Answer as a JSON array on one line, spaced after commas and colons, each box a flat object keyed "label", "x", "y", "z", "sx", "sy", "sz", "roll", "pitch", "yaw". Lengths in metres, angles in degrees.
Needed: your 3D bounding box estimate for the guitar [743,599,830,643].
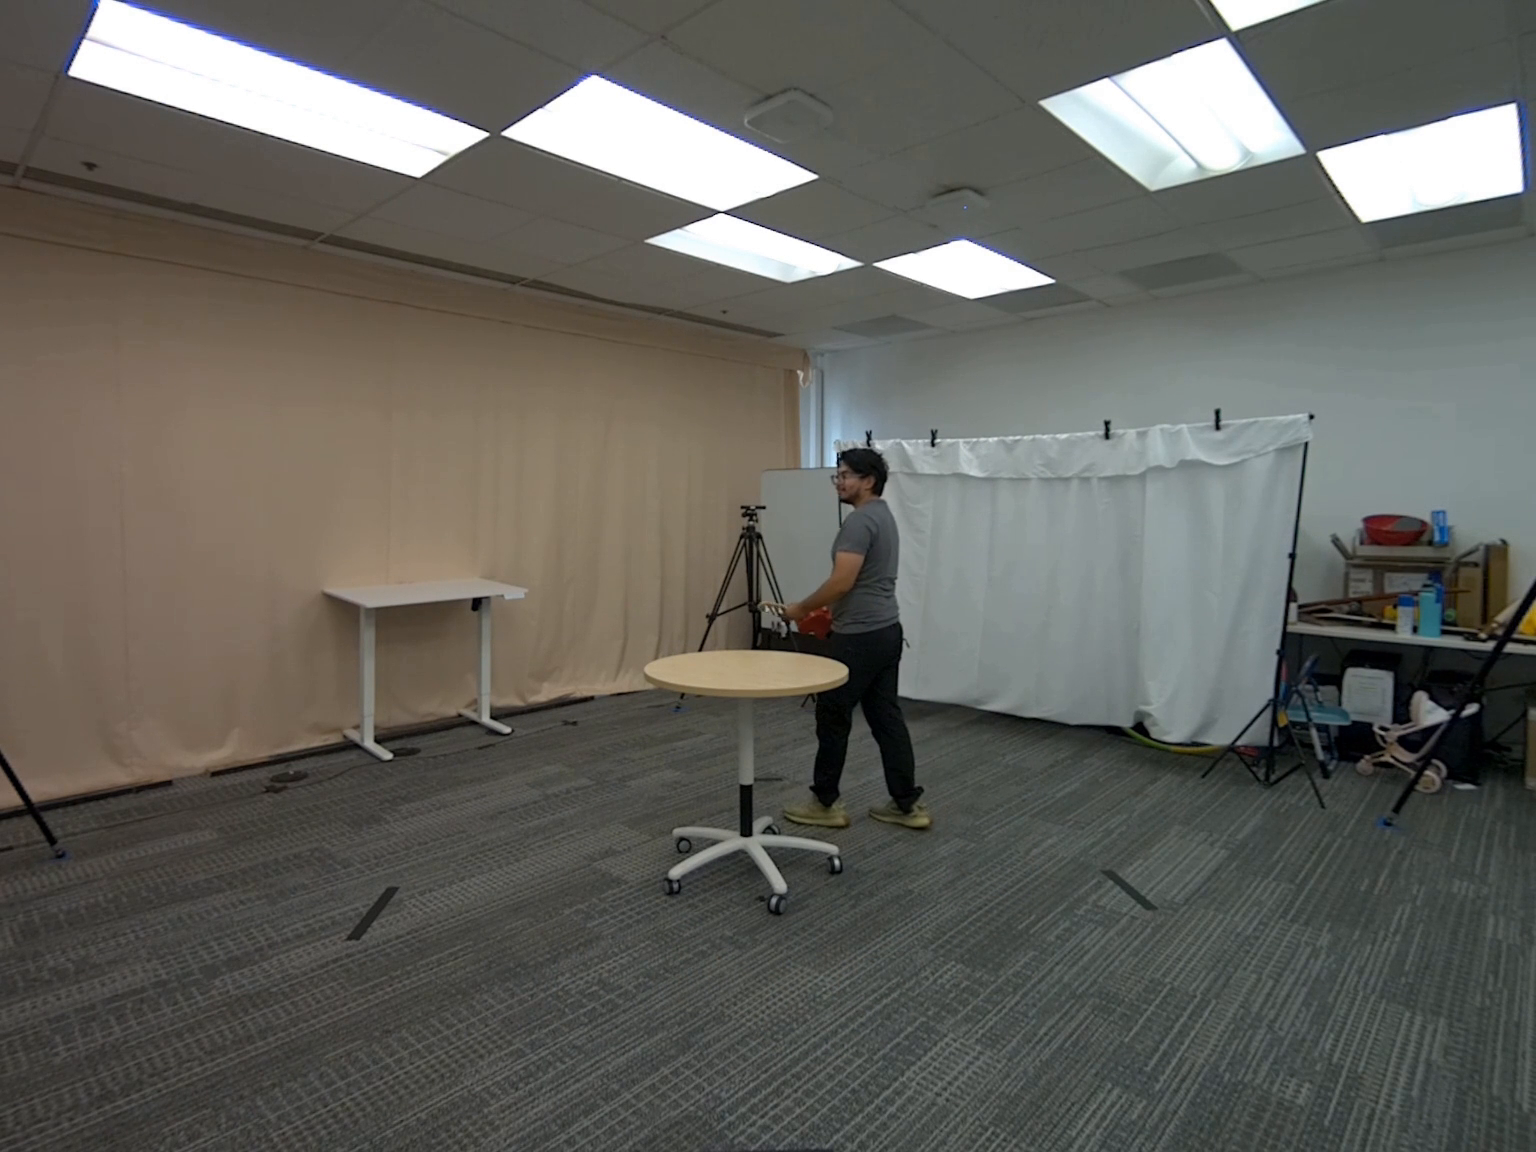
[{"label": "guitar", "x": 0.152, "y": 0.203, "z": 3.788, "sx": 0.484, "sy": 0.073, "sz": 0.193, "roll": 4, "pitch": -43, "yaw": -30}]
